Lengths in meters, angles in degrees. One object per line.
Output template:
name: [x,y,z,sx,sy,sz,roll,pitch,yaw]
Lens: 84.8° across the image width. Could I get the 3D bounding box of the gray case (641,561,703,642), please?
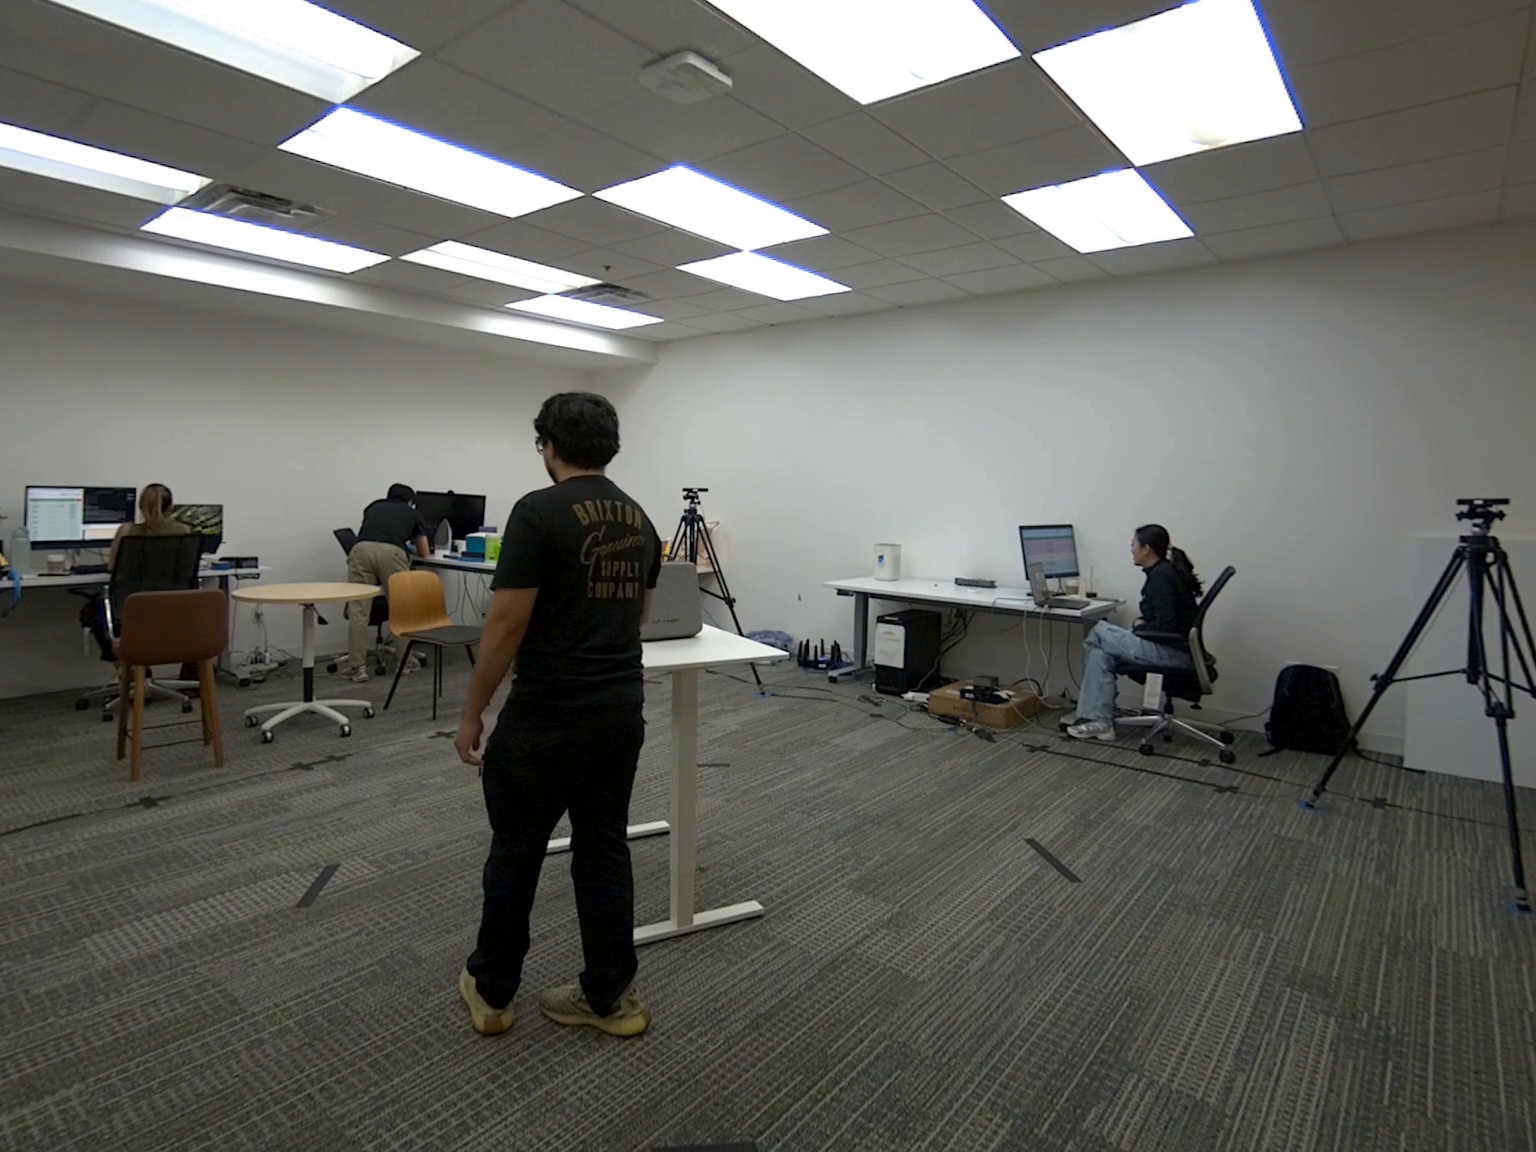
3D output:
gray case: [-0.366,0.077,2.885,0.250,0.263,0.106,-2,-10,-31]
